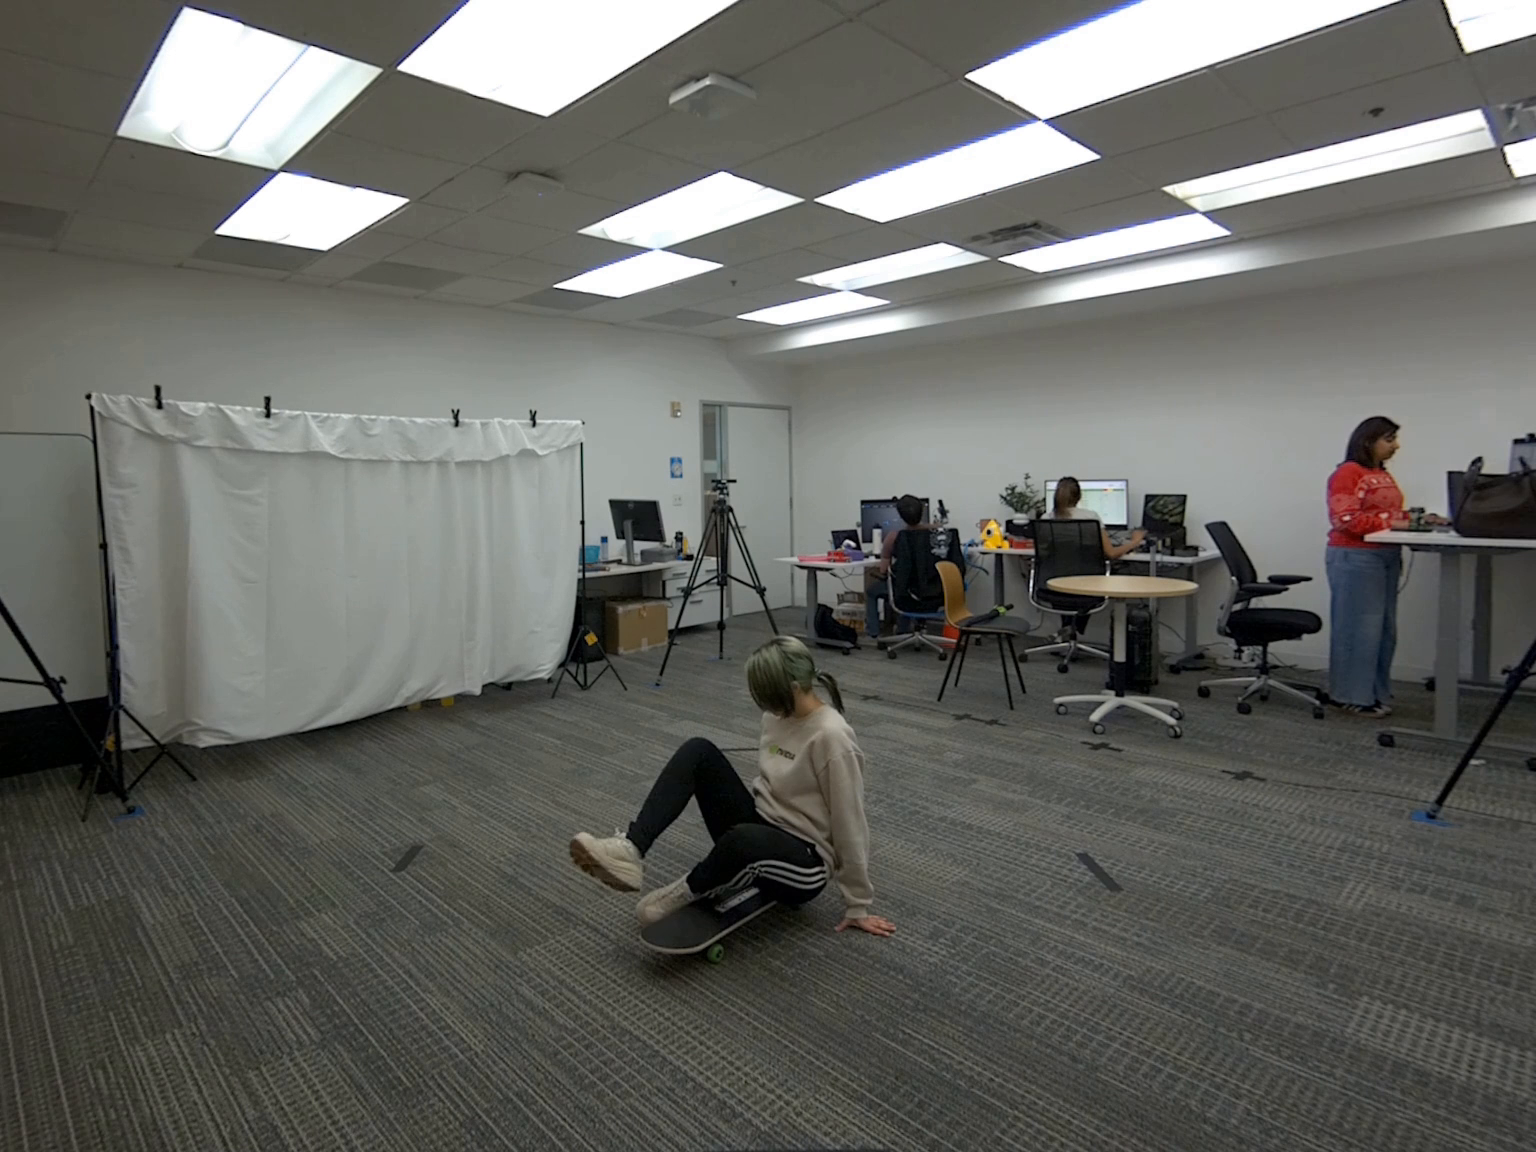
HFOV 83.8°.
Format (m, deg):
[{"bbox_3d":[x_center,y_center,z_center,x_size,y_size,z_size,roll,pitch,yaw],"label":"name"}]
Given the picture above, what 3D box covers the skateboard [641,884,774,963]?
[{"bbox_3d":[-0.095,1.045,2.679,0.199,0.110,0.765,6,9,40],"label":"skateboard"}]
